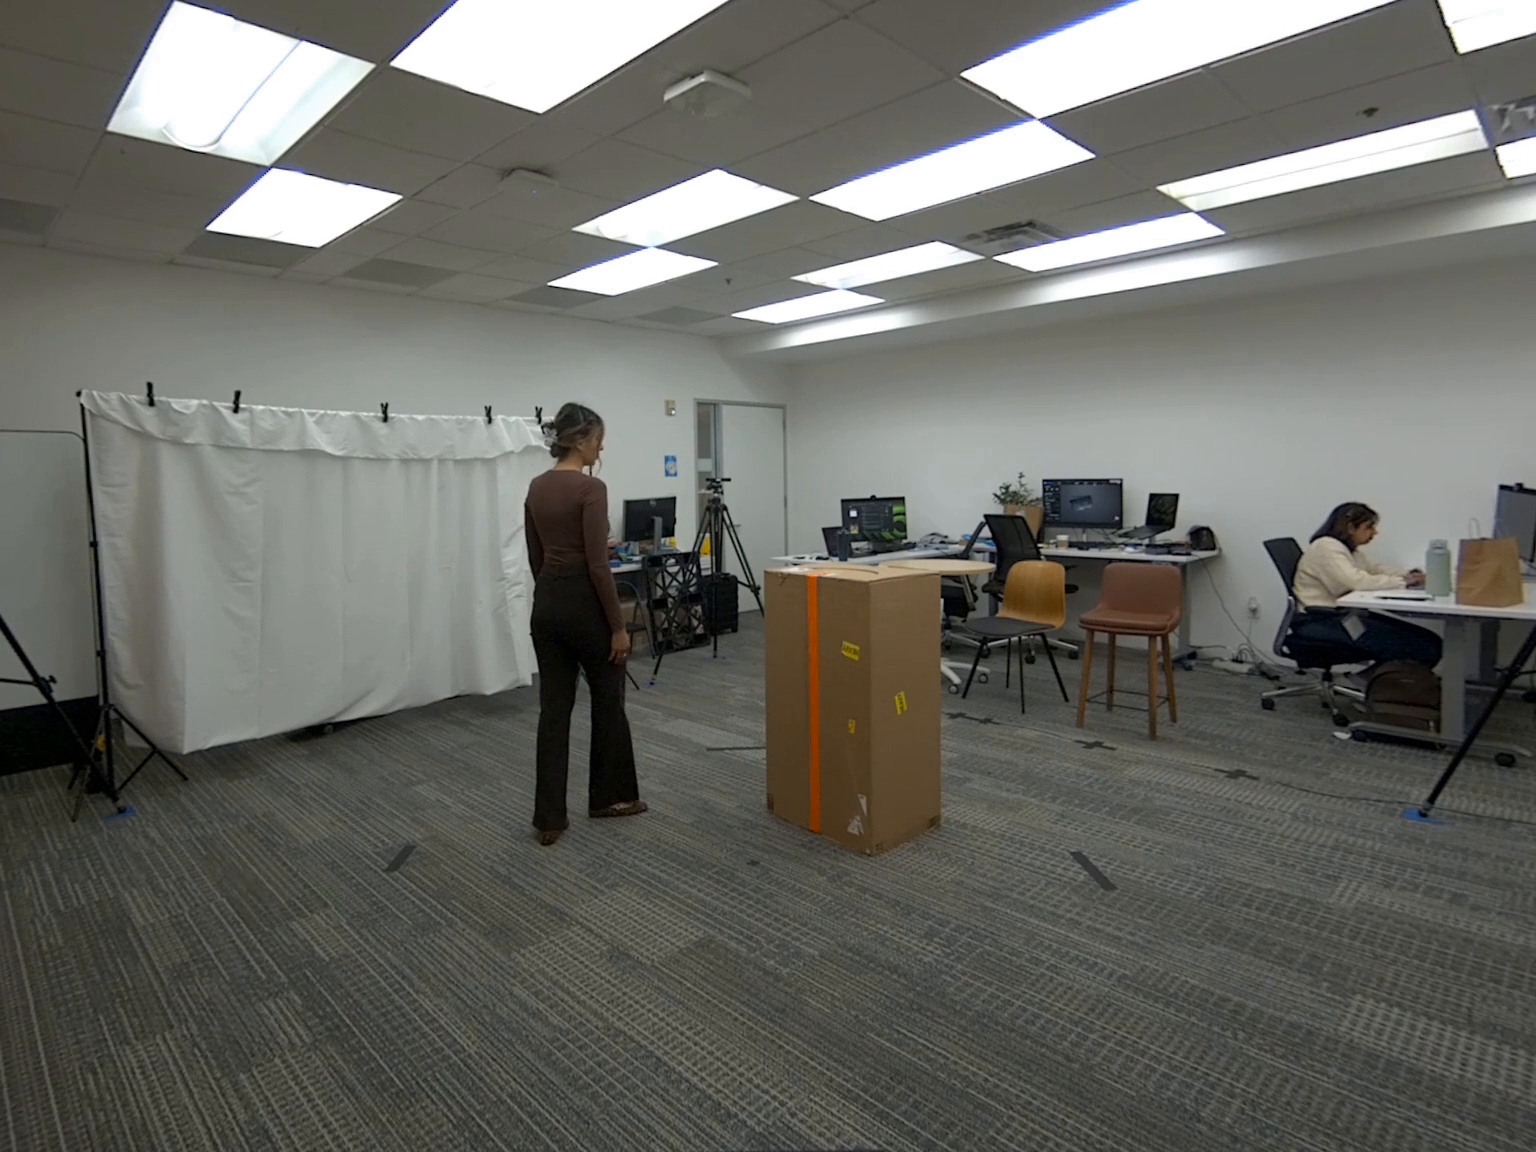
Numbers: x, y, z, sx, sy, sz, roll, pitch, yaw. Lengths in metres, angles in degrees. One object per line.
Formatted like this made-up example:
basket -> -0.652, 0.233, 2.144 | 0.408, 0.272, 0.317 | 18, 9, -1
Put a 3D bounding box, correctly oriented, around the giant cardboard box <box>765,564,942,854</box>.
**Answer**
giant cardboard box -> 0.335, 0.483, 3.454 | 0.435, 1.023, 0.602 | -5, 6, -39
